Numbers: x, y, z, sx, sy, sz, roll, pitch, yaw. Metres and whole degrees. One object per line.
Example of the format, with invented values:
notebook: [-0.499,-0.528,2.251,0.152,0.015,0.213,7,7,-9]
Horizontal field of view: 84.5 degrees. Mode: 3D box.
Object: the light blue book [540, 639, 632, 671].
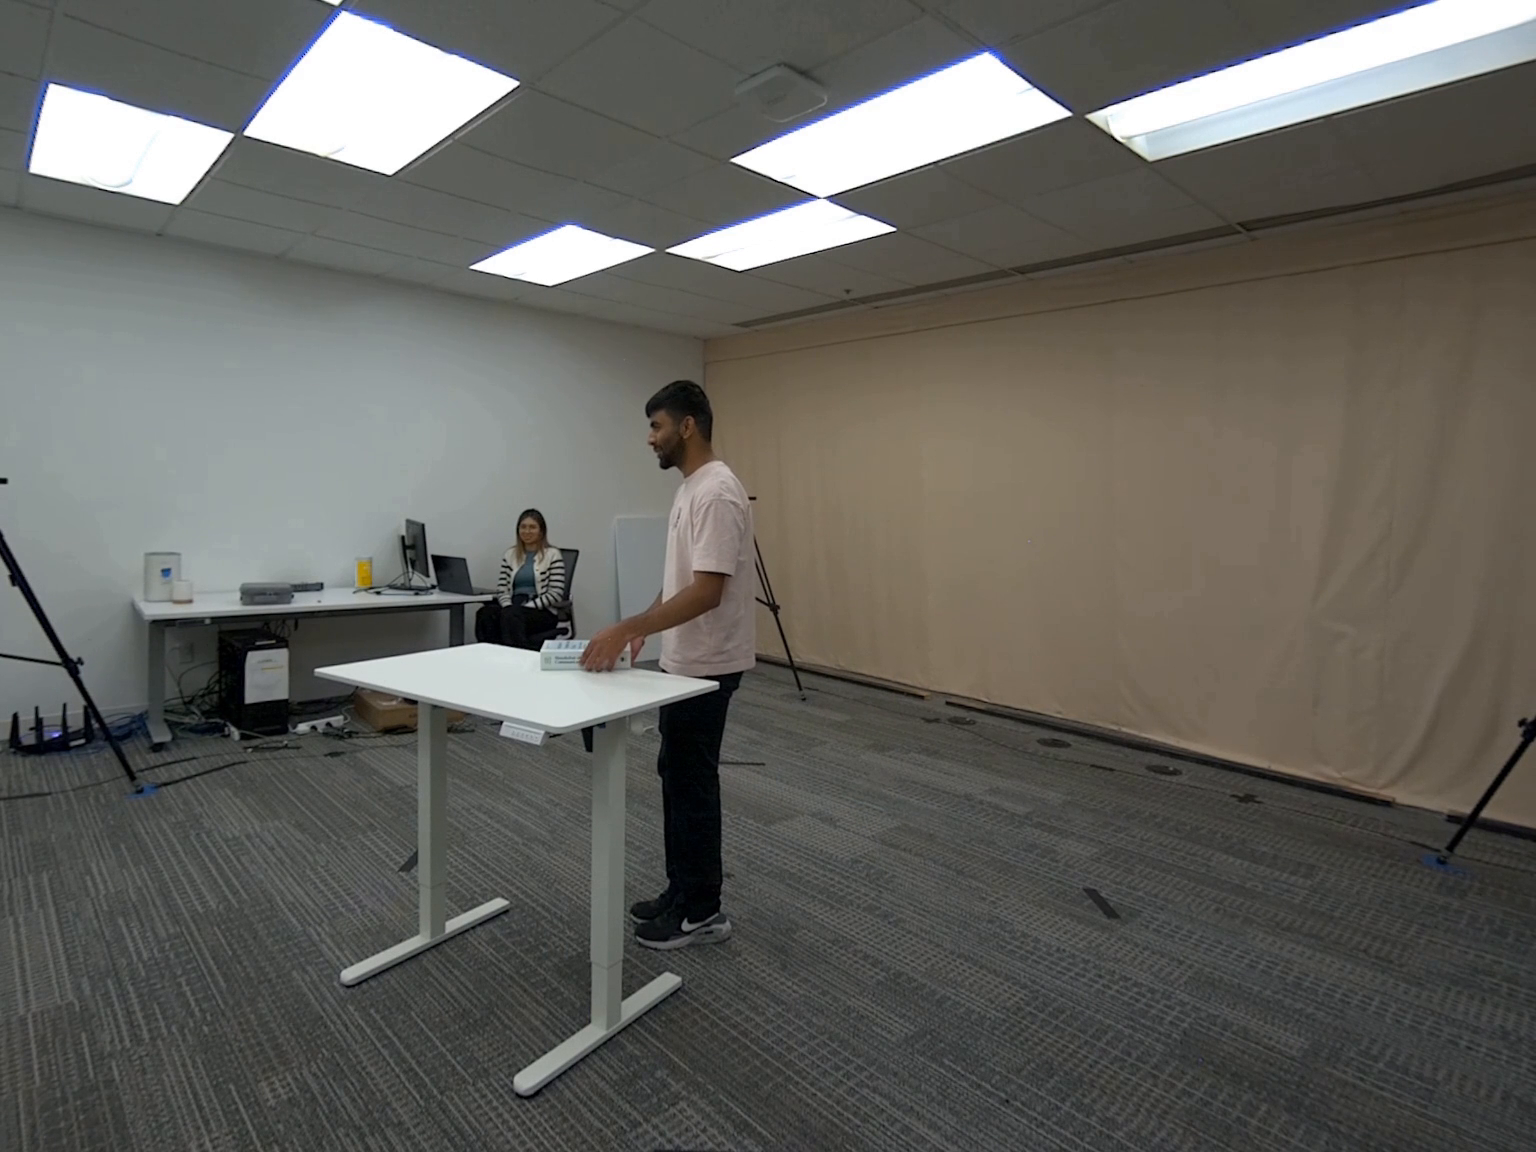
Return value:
light blue book: [-0.571,0.240,2.548,0.260,0.059,0.192,2,5,-3]
